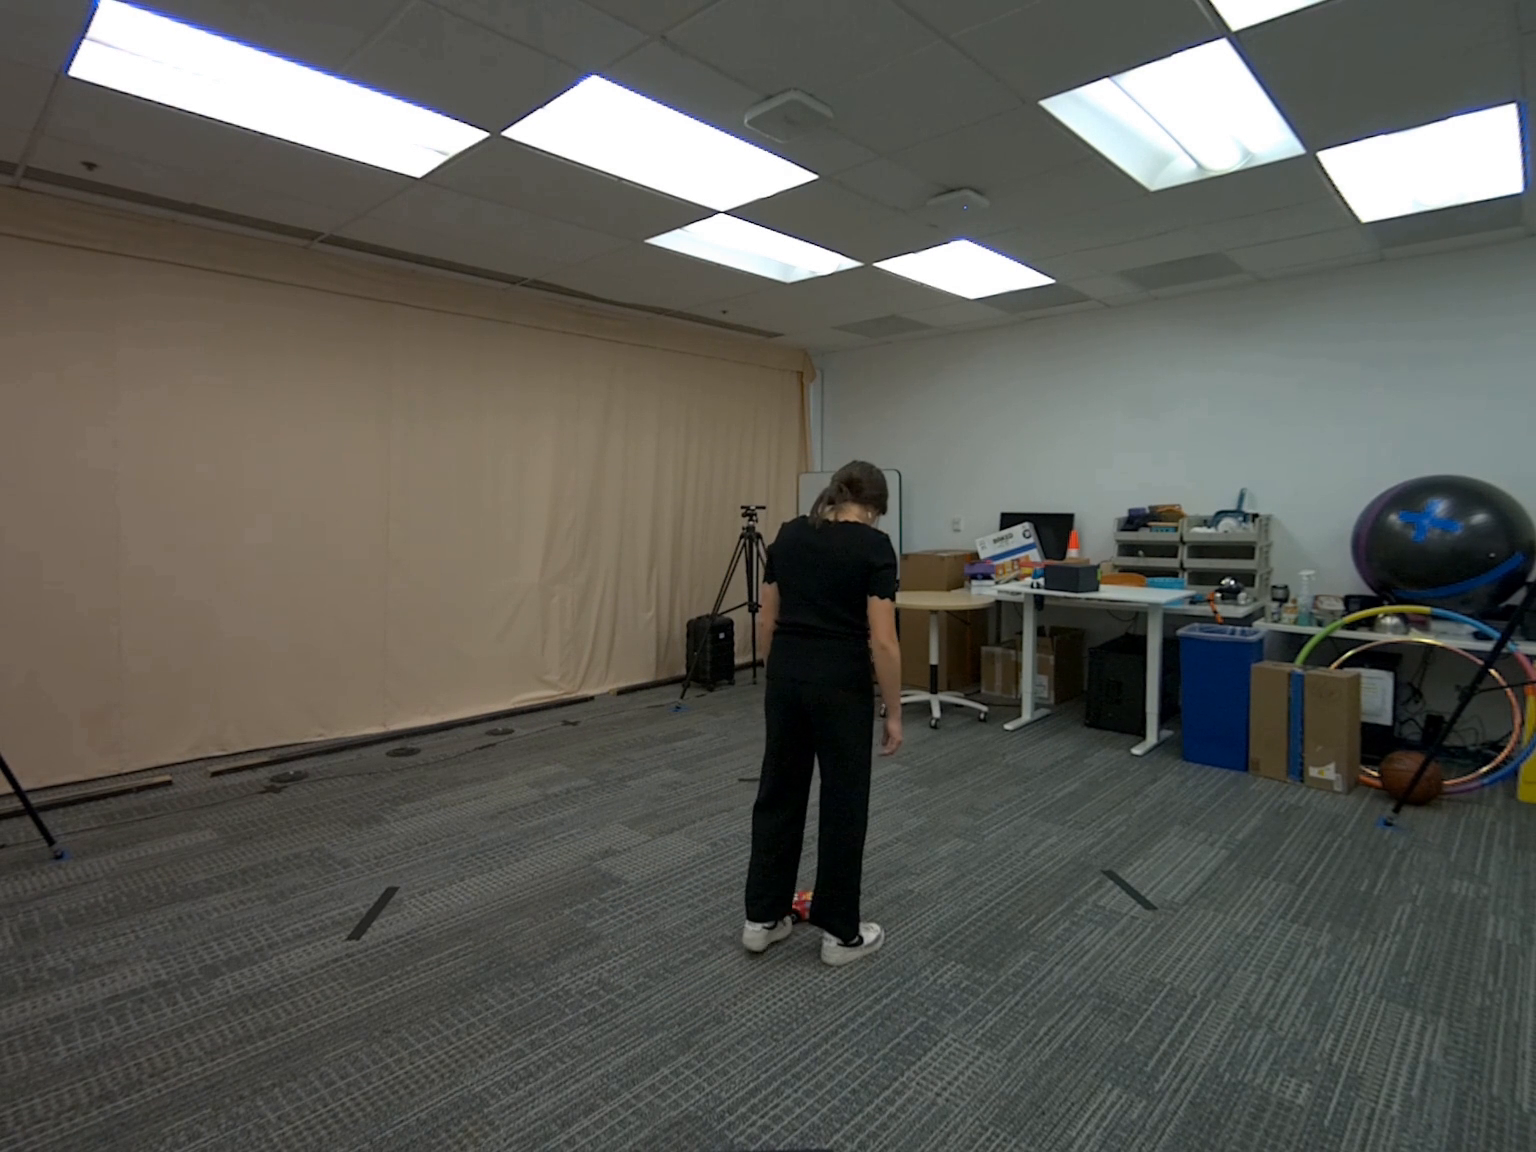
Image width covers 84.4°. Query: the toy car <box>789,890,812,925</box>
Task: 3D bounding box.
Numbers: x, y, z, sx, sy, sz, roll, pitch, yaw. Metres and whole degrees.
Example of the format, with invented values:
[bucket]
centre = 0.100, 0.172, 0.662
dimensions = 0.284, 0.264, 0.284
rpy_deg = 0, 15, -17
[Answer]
[toy car]
centre = 0.142, 1.125, 2.852
dimensions = 0.255, 0.083, 0.130
rpy_deg = 11, 3, 2
